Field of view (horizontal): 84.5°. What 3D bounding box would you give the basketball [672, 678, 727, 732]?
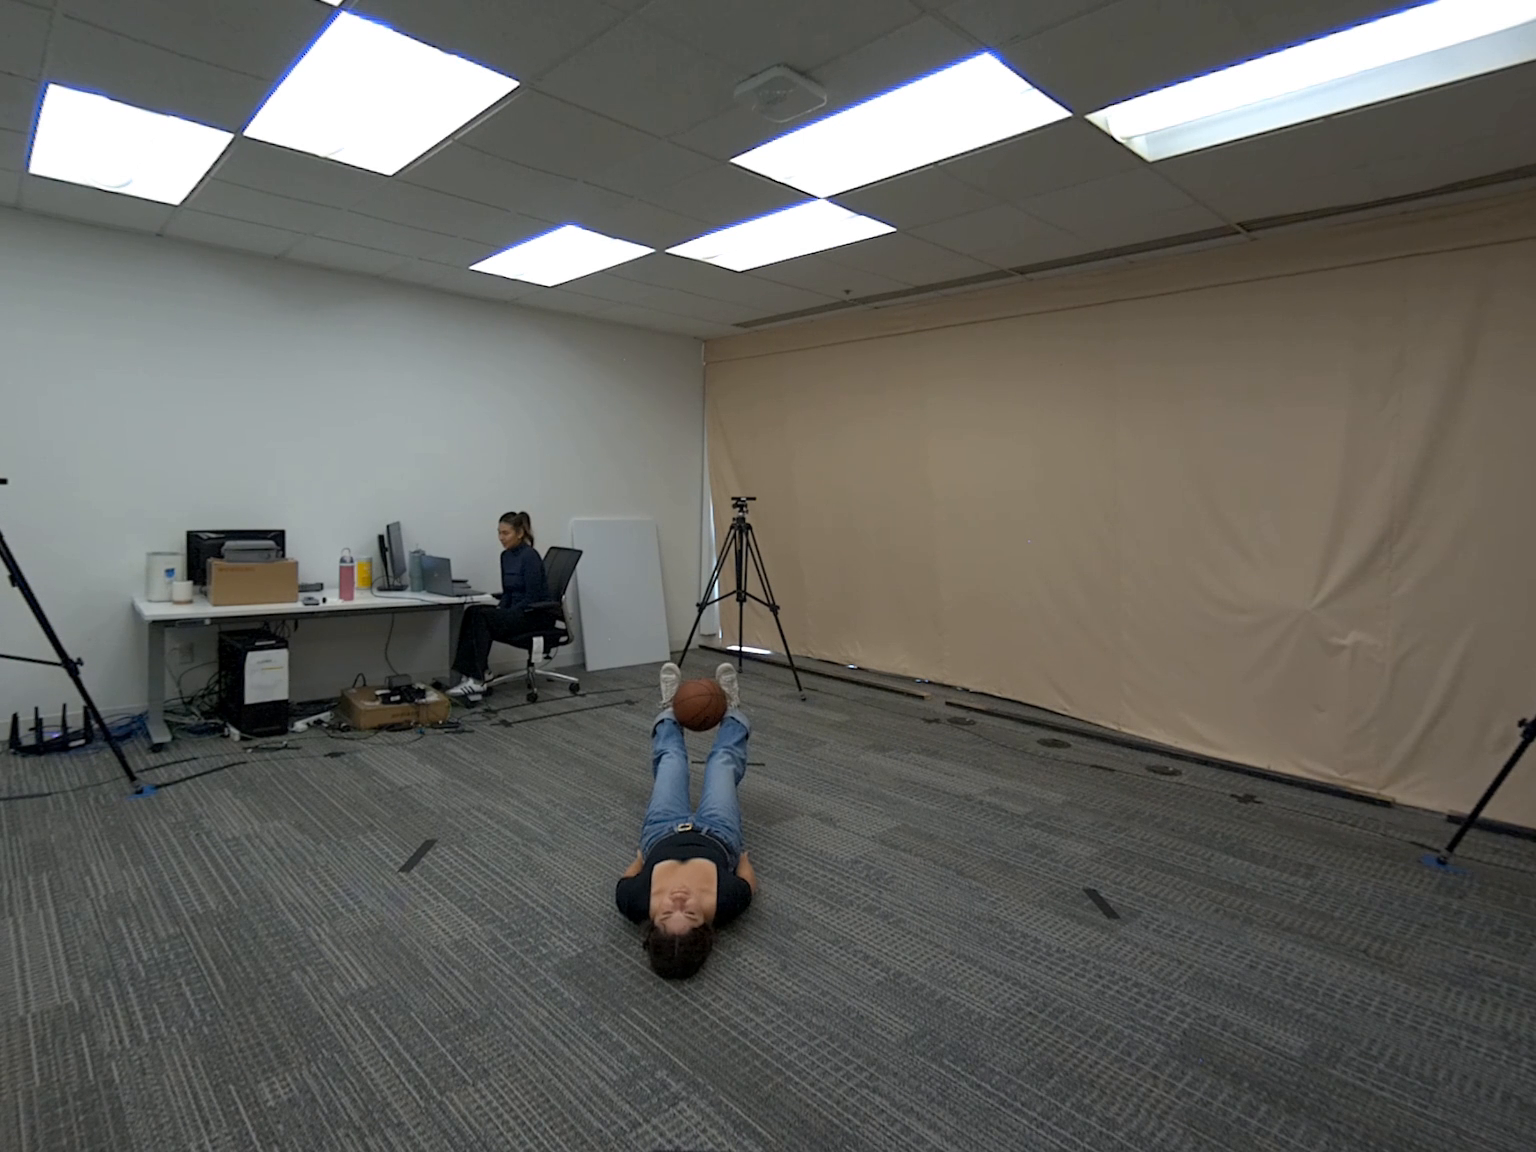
[{"bbox_3d":[-0.318,0.573,3.764,0.236,0.235,0.237,1,4,-1],"label":"basketball"}]
